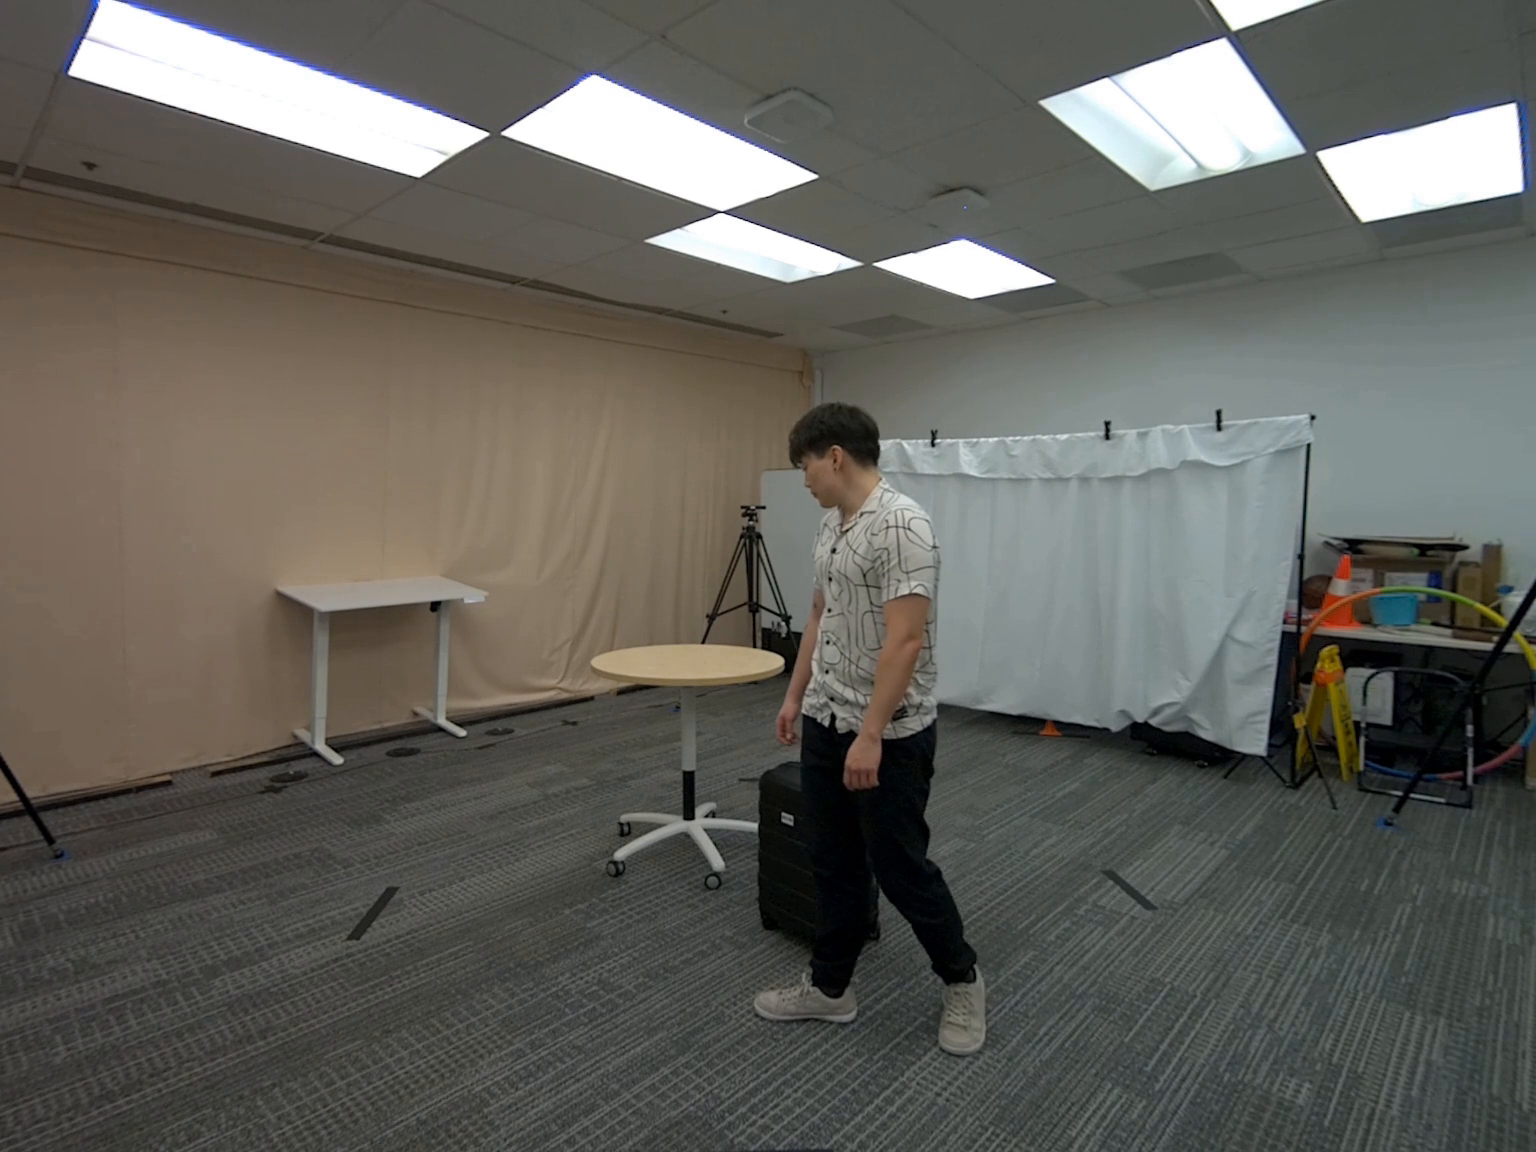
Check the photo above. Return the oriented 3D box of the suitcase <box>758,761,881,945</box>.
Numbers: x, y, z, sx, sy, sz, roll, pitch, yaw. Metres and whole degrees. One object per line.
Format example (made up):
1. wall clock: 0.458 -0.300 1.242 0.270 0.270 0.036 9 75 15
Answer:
1. suitcase: 0.166 0.889 2.720 0.241 0.548 0.388 -5 6 -43
